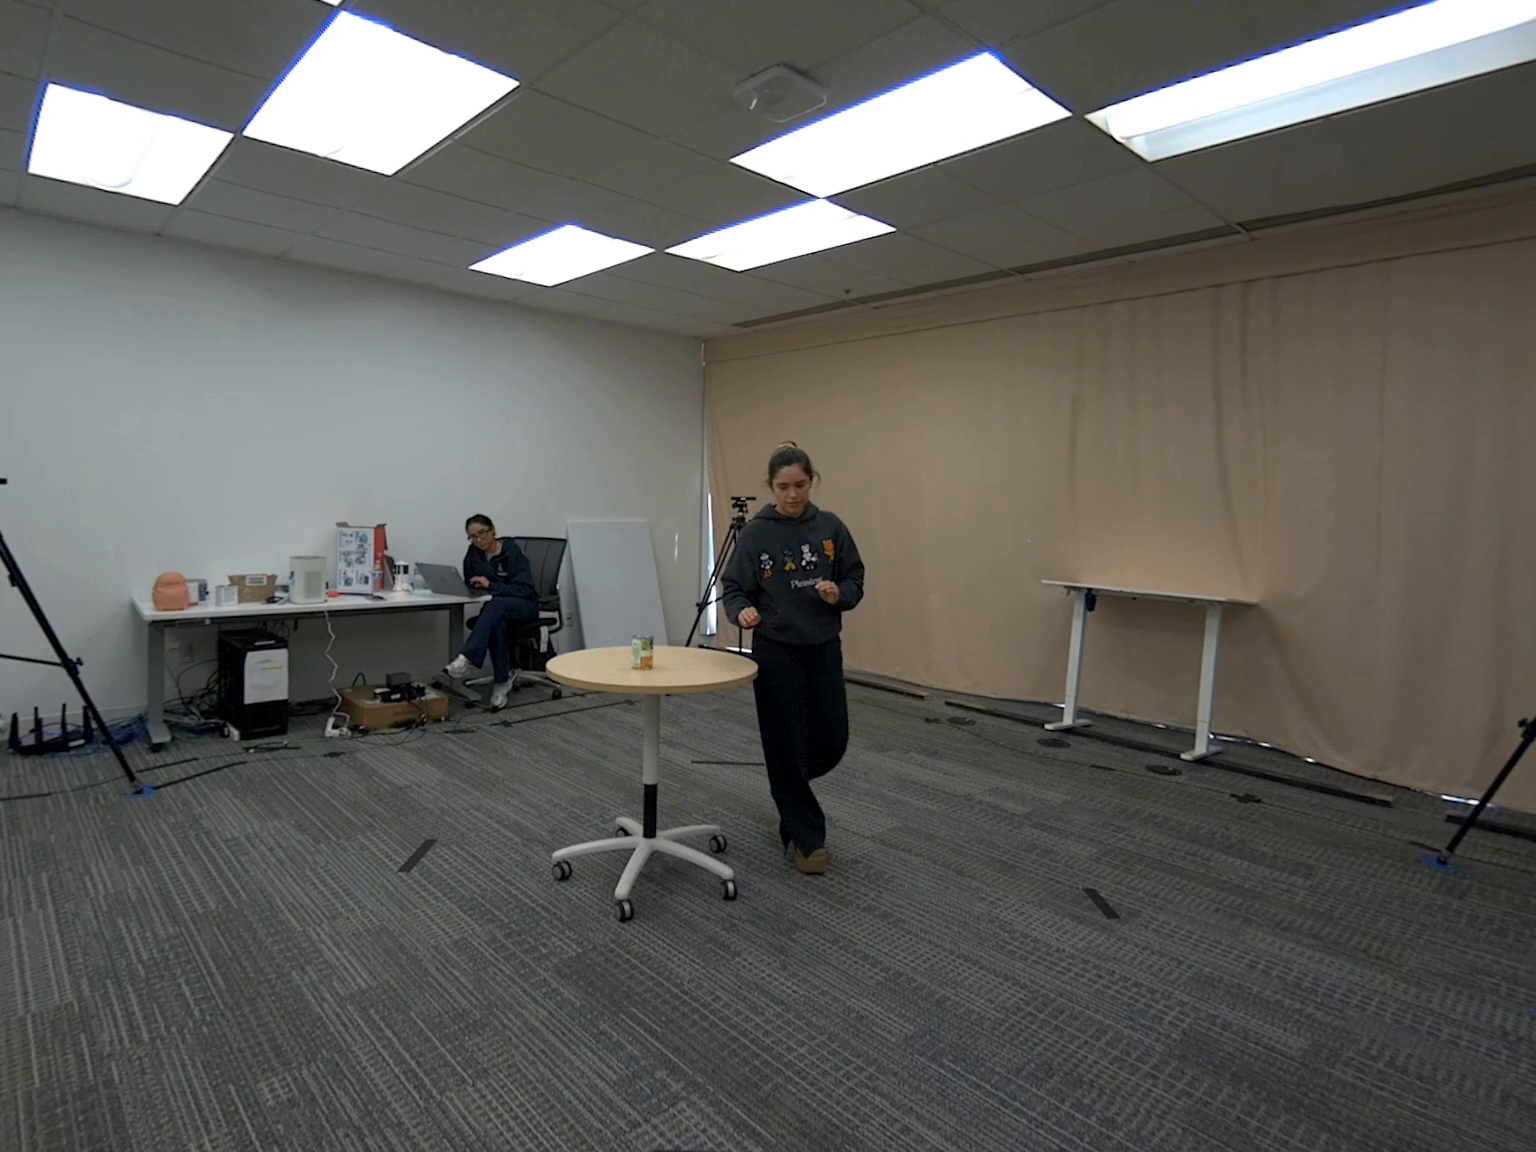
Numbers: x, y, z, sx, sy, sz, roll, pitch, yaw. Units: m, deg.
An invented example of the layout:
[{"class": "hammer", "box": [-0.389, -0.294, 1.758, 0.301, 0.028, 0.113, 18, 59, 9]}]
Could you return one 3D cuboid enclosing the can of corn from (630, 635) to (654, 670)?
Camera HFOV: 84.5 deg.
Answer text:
[{"class": "can of corn", "box": [-0.454, 0.271, 2.981, 0.074, 0.111, 0.074, 0, 5, -1]}]
